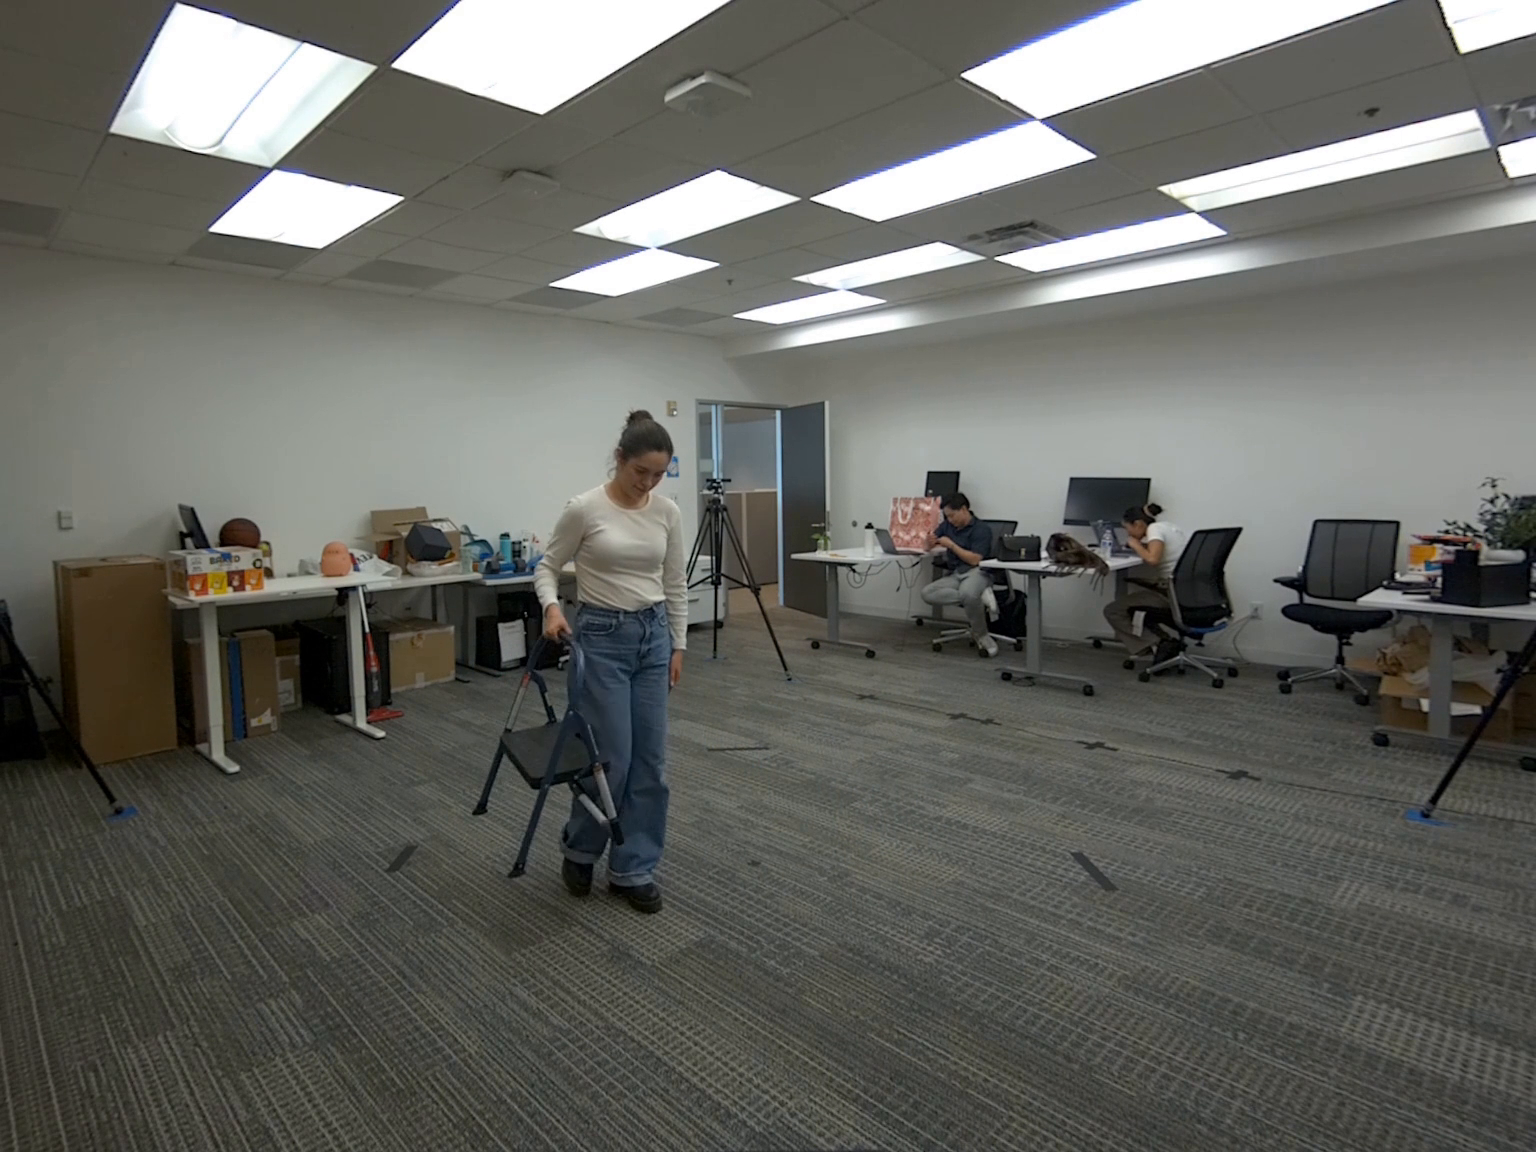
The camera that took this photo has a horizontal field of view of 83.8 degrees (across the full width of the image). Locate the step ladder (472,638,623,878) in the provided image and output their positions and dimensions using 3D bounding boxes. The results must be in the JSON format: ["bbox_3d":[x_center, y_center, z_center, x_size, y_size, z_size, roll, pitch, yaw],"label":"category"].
[{"bbox_3d":[-0.675,0.485,2.570,0.341,0.601,0.445,-5,12,-32],"label":"step ladder"}]
